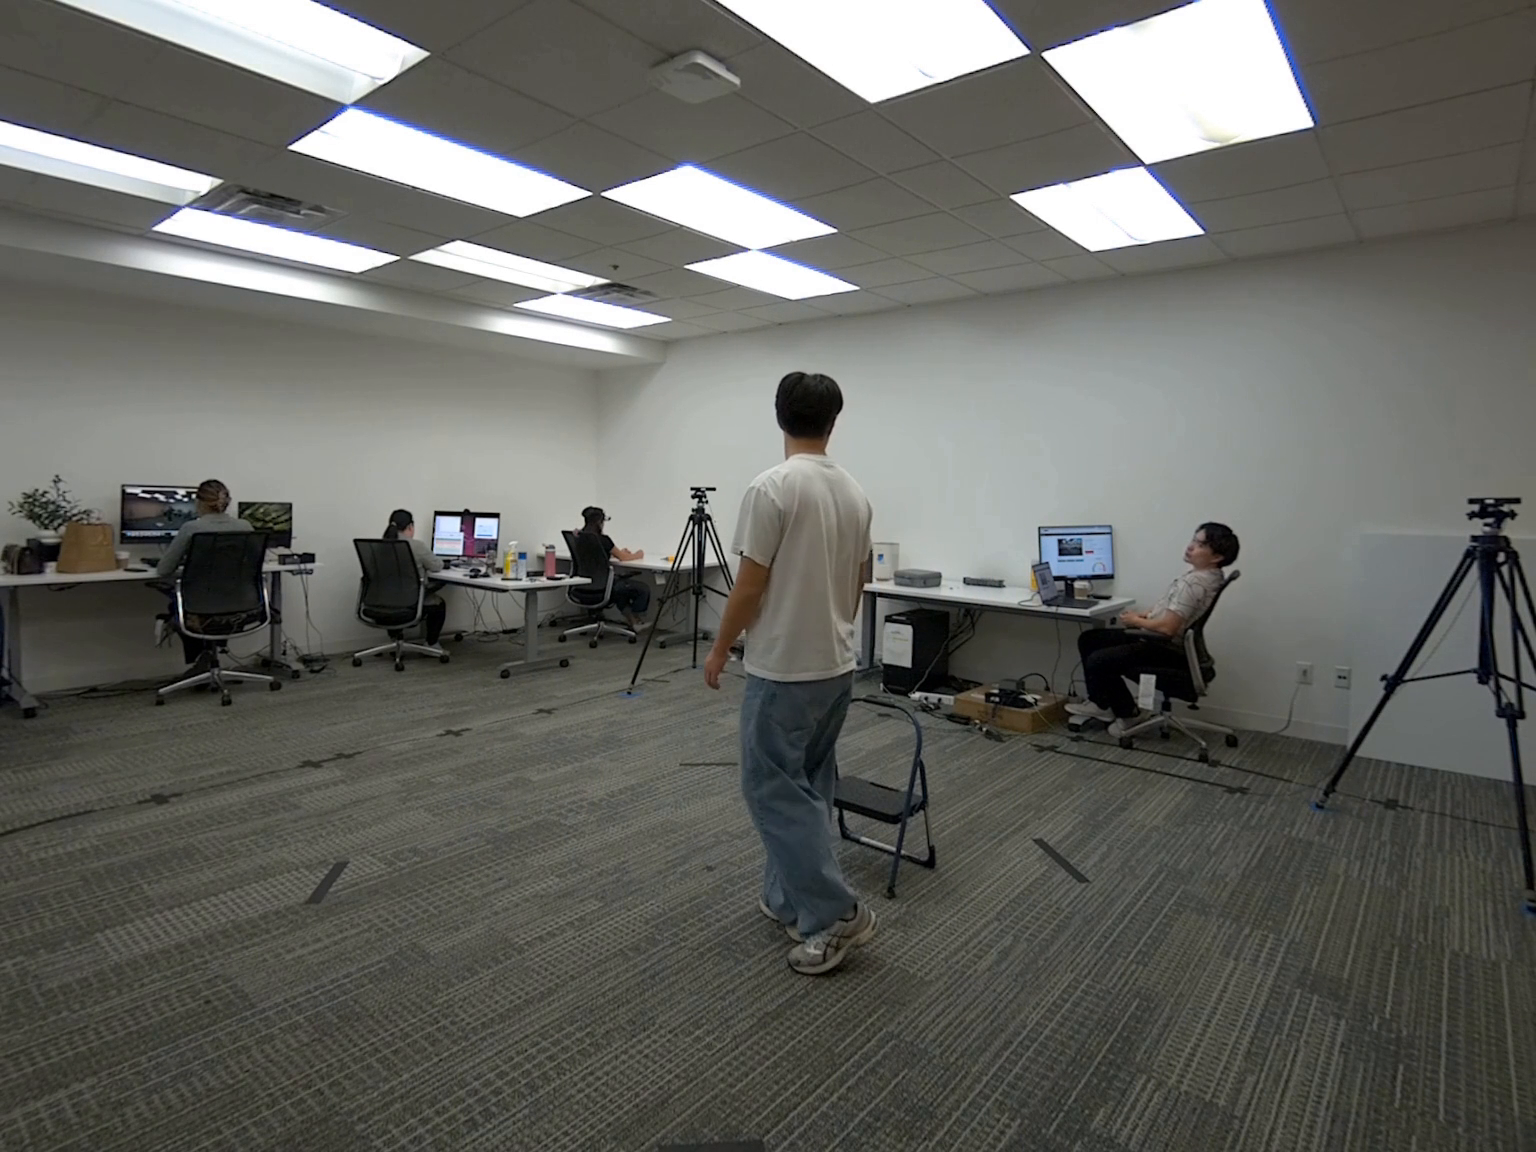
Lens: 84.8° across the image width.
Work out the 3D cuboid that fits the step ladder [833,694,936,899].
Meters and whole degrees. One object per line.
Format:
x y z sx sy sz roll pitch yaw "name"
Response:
0.362 0.769 3.158 0.445 0.604 0.339 4 5 39 "step ladder"
